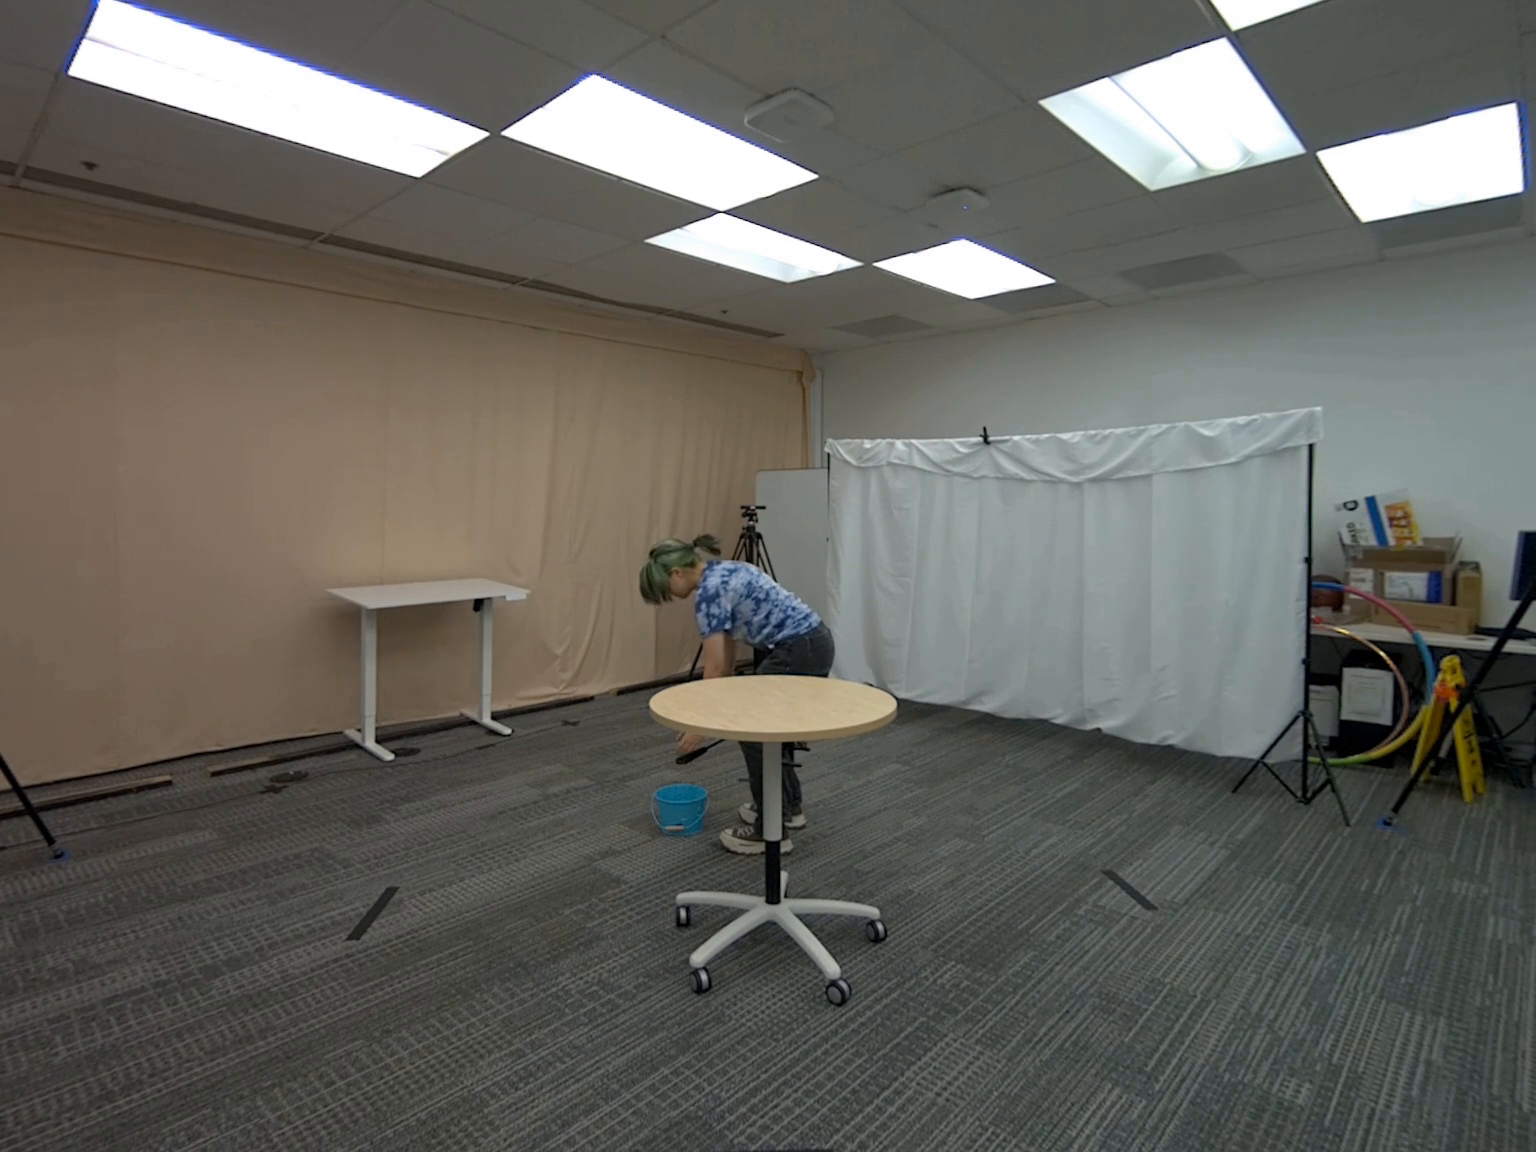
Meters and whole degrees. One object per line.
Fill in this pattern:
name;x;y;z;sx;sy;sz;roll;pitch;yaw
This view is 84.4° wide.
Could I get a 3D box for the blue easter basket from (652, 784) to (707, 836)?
blue easter basket;-0.388;1.017;3.649;0.243;0.155;0.244;-1;4;-2
